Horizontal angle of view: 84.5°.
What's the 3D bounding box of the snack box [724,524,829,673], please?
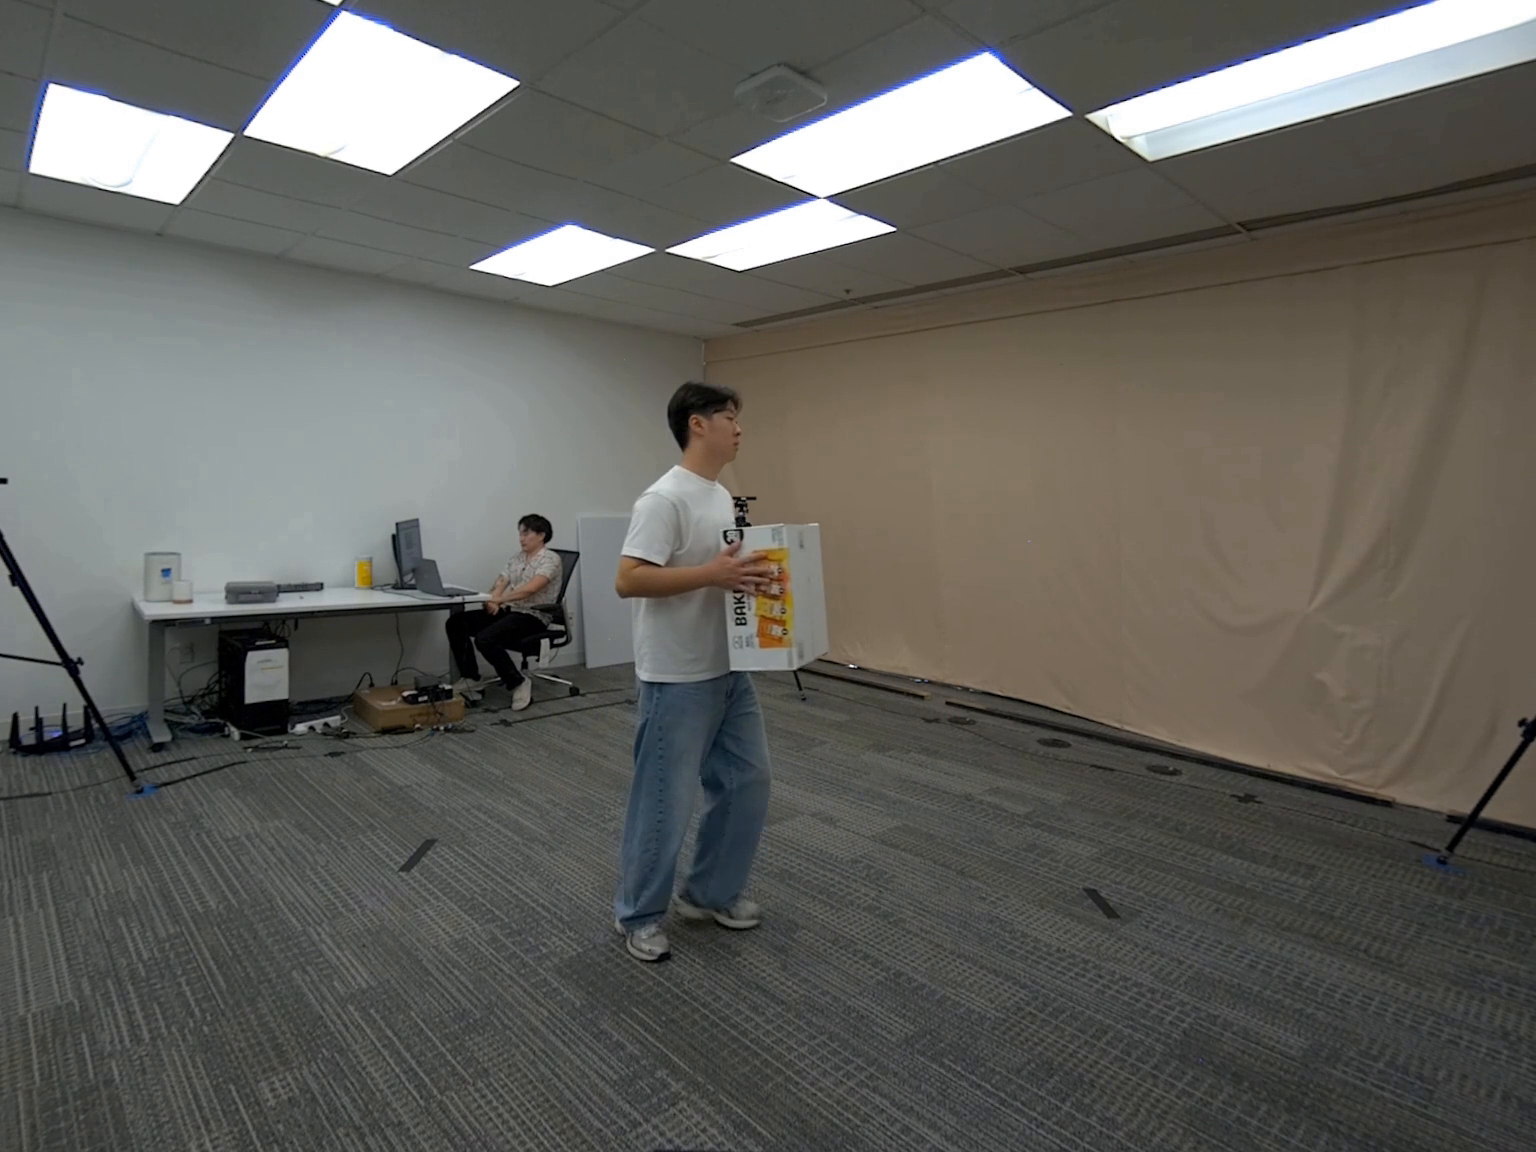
[{"bbox_3d":[0.021,0.058,2.515,0.209,0.405,0.335,-4,1,21],"label":"snack box"}]
